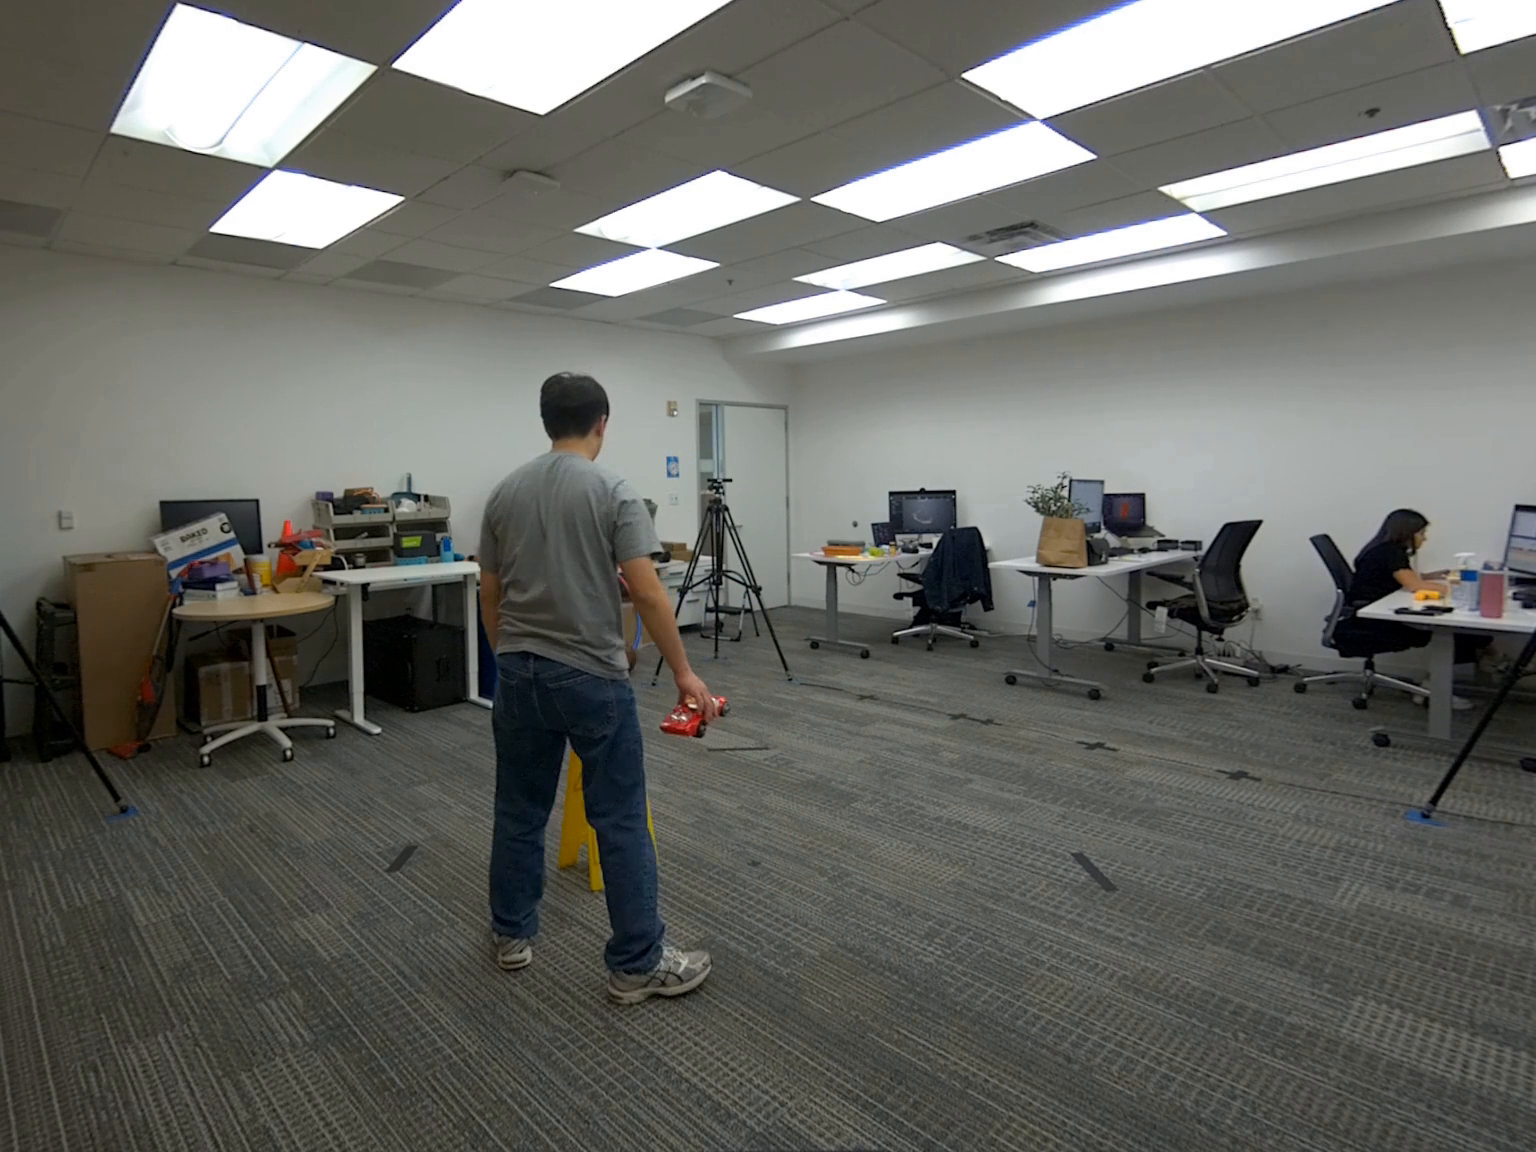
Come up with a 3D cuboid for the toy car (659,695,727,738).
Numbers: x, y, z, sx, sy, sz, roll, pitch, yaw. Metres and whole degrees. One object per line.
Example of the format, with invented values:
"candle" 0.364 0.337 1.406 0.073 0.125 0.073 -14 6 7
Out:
"toy car" -0.208 0.402 2.413 0.133 0.083 0.249 2 5 27
